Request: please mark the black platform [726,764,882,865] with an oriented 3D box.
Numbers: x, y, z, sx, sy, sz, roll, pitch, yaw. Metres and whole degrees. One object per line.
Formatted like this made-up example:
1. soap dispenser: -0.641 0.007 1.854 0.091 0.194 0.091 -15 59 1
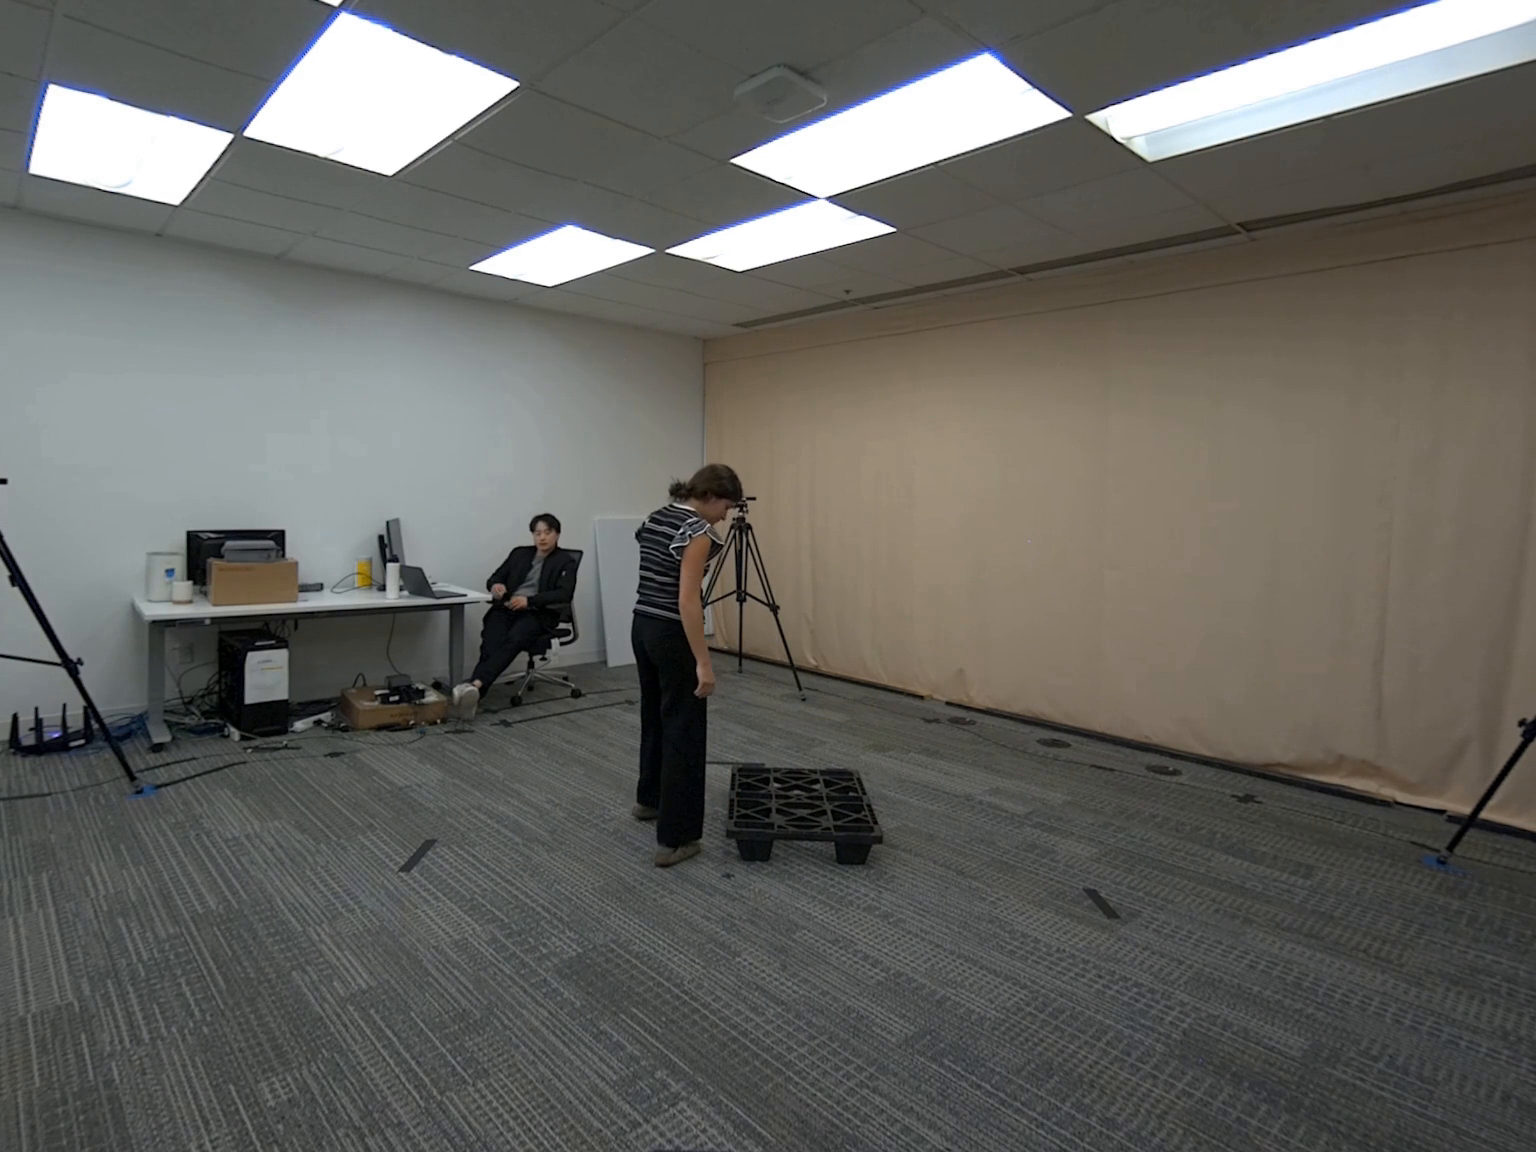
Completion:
1. black platform: 0.122 1.001 3.590 0.605 0.143 0.807 2 5 0
